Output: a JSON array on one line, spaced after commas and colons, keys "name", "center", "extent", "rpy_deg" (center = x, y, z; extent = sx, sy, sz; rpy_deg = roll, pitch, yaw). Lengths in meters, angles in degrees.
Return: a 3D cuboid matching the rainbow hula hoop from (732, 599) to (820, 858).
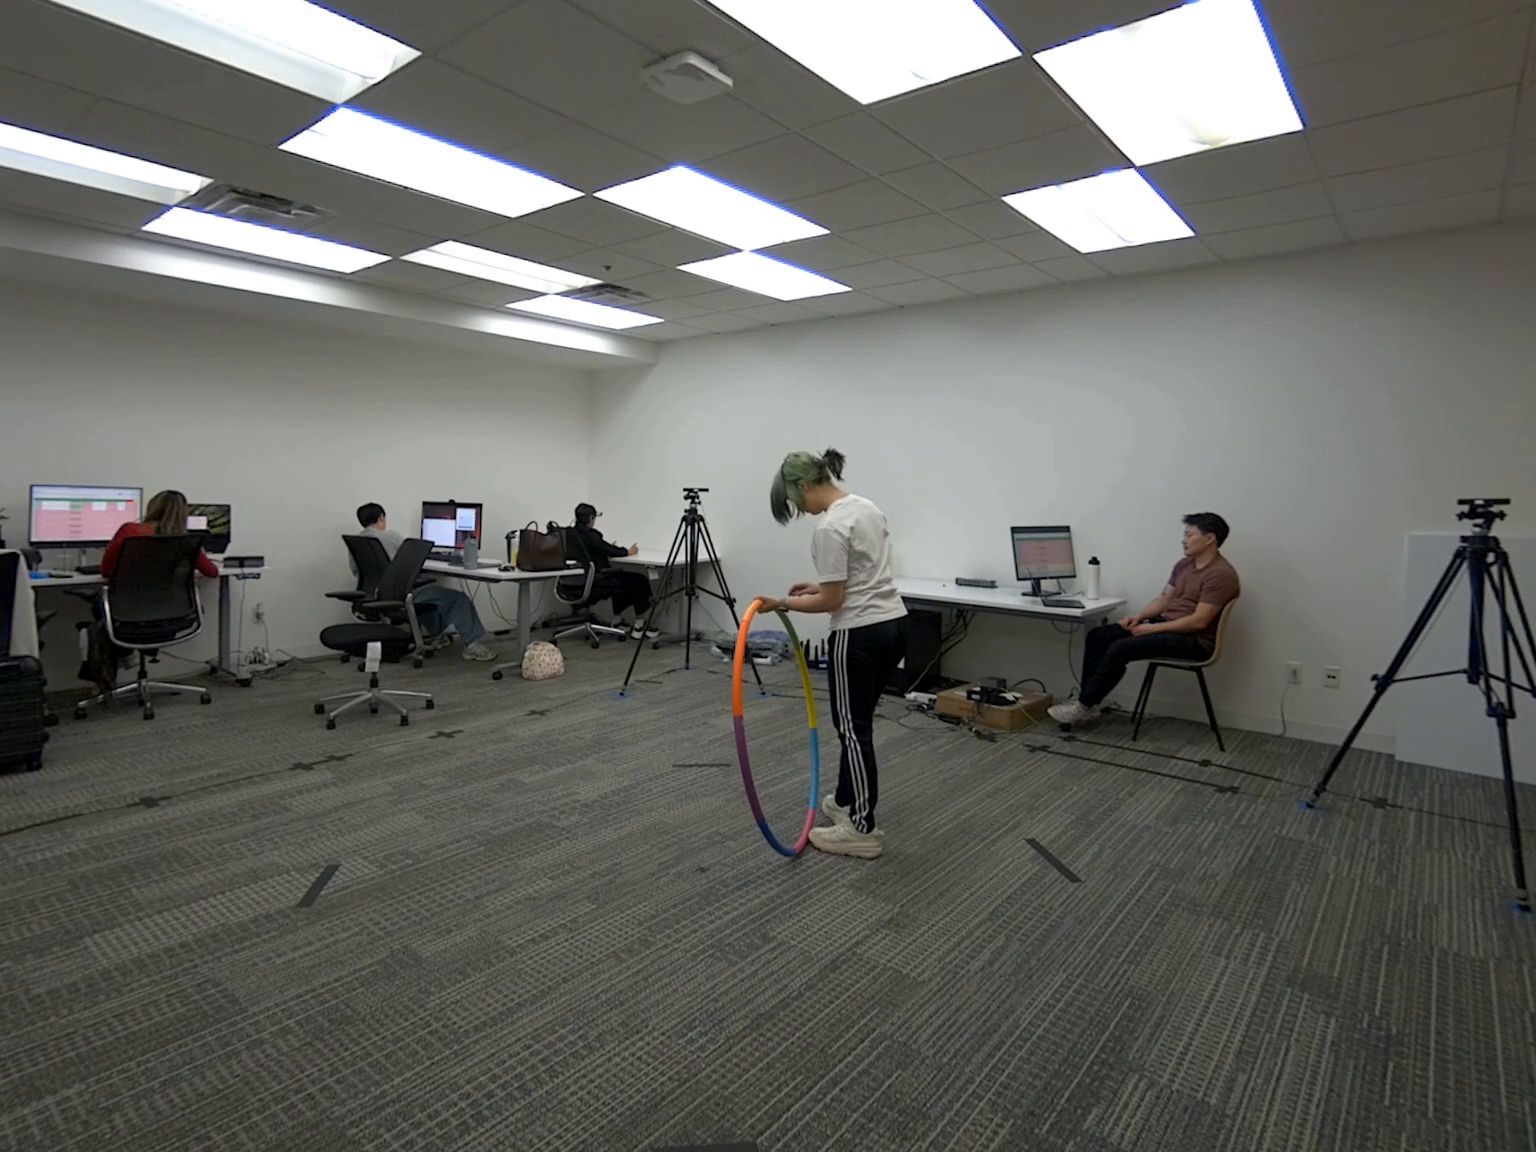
[{"name": "rainbow hula hoop", "center": [0.037, 0.571, 3.324], "extent": [0.036, 0.980, 0.963], "rpy_deg": [-11, 0, 18]}]
